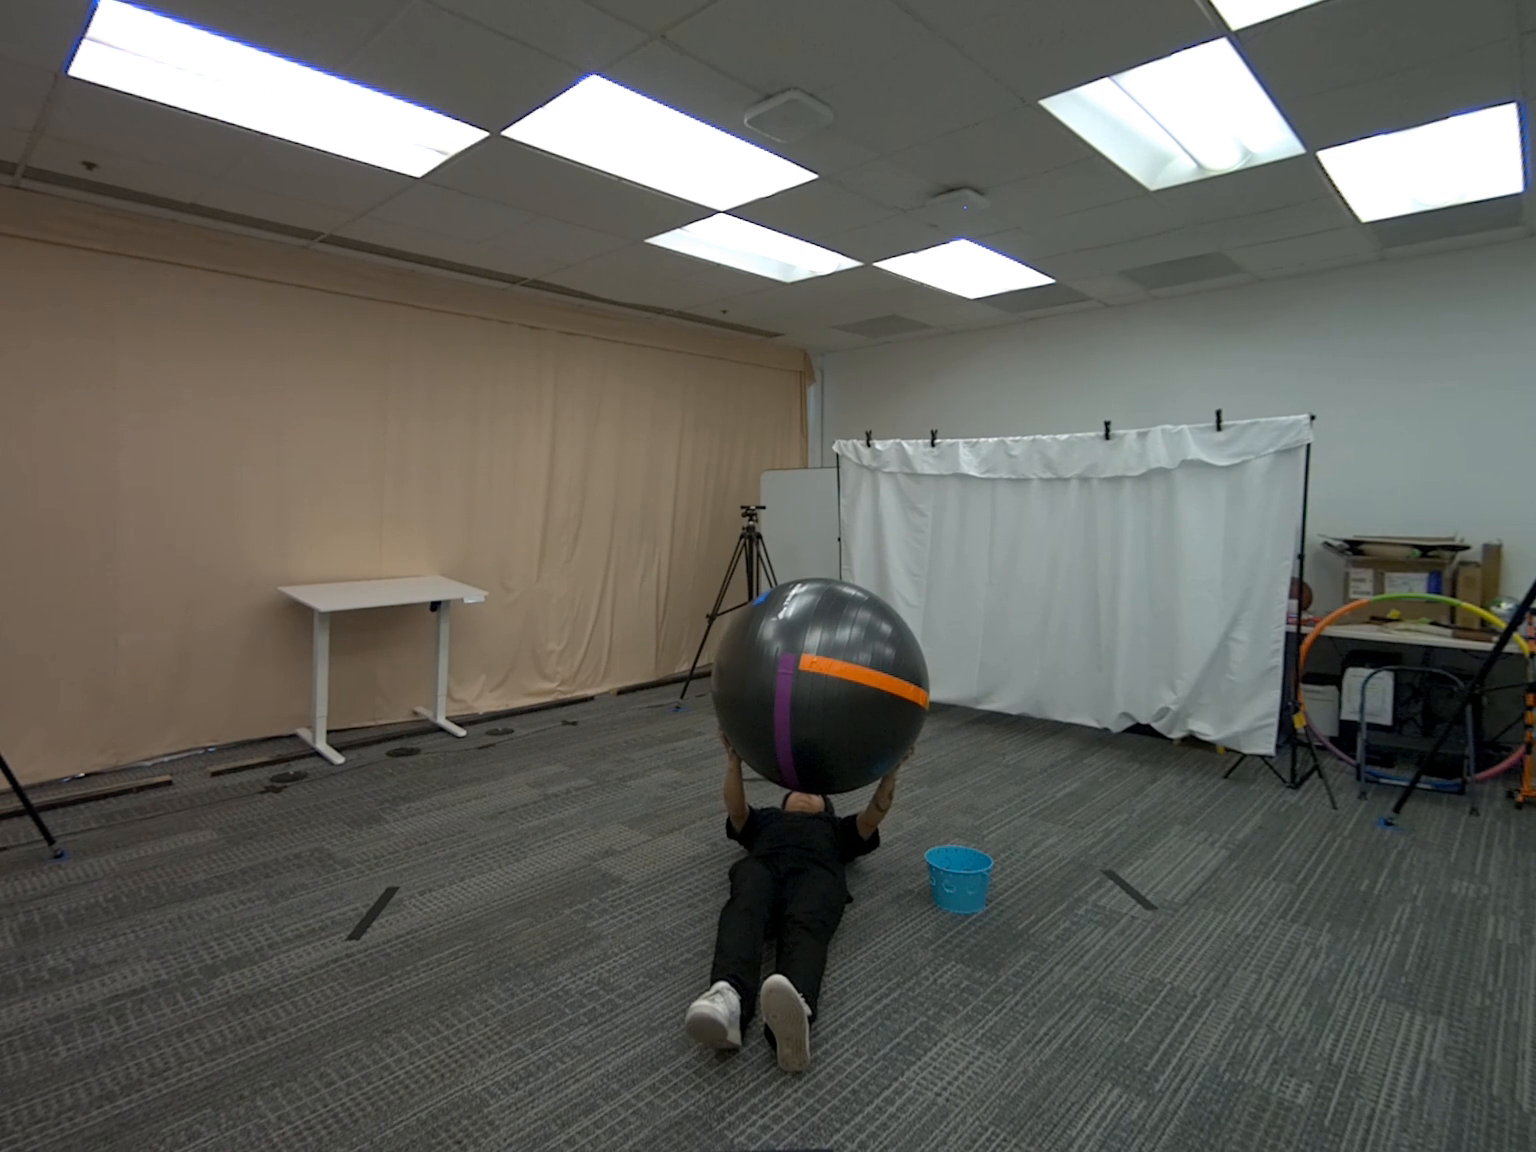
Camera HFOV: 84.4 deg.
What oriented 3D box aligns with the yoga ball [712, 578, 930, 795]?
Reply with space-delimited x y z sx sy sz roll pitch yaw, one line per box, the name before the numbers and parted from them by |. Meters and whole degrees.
yoga ball | 0.181 0.391 3.002 0.757 0.756 0.760 0 4 -2
